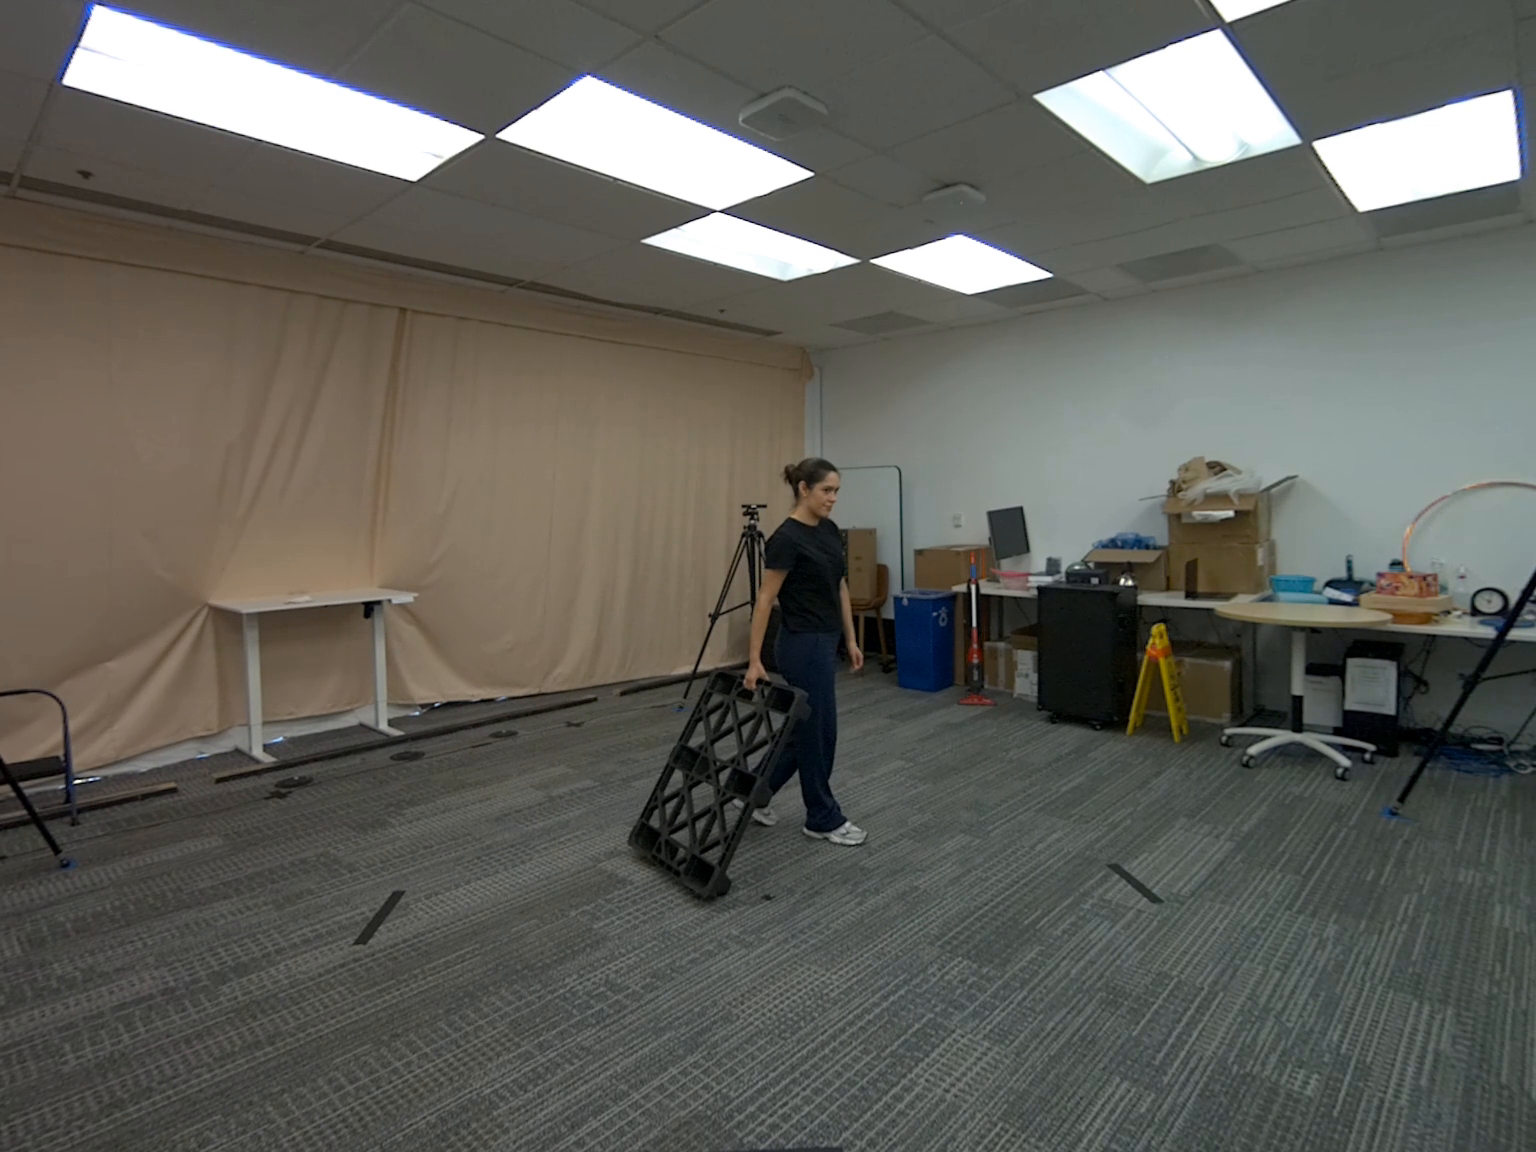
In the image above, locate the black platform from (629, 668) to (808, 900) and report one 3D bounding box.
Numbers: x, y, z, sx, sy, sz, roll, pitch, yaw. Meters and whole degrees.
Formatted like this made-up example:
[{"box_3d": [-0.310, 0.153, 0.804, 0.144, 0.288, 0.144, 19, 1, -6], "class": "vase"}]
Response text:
[{"box_3d": [-0.161, 0.772, 3.267, 0.139, 0.806, 0.624, 36, -18, -32], "class": "black platform"}]
